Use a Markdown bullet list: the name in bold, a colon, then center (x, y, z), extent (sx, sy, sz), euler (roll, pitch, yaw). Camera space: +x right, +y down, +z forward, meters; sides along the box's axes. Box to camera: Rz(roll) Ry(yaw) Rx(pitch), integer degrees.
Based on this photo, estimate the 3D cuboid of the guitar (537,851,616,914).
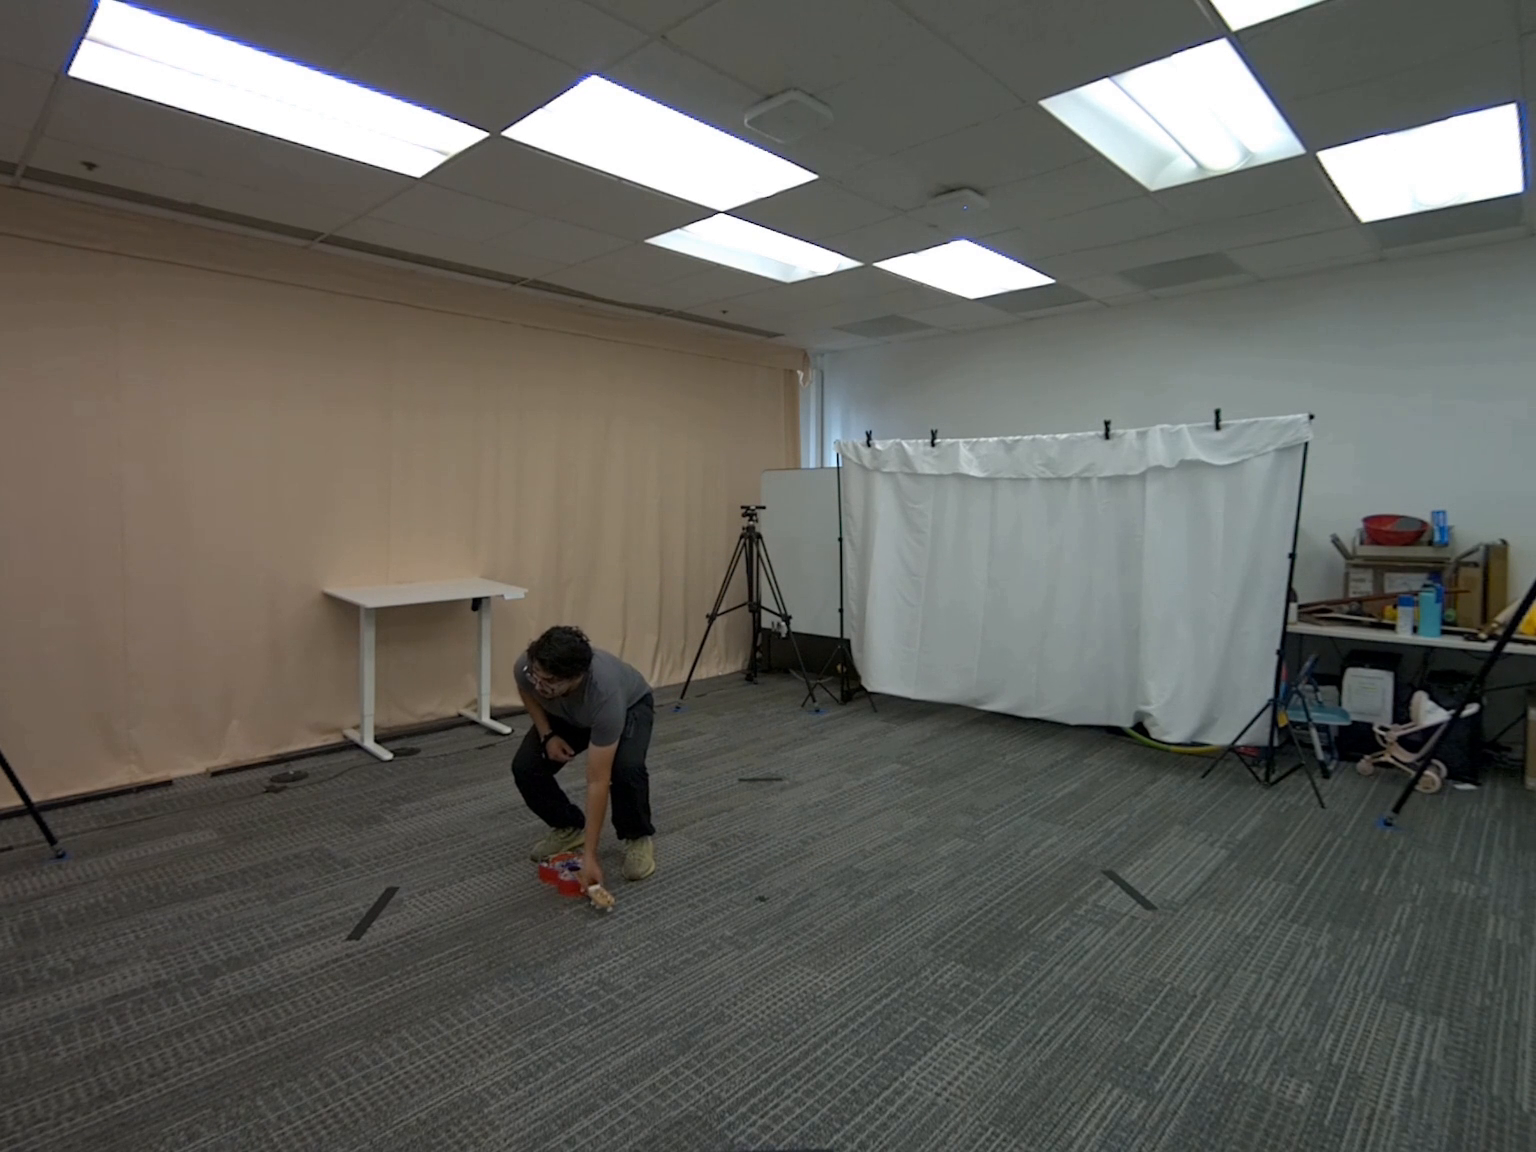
- **guitar**: center (-0.703, 1.112, 3.032), extent (0.189, 0.070, 0.510), euler (-2, 5, -24)
